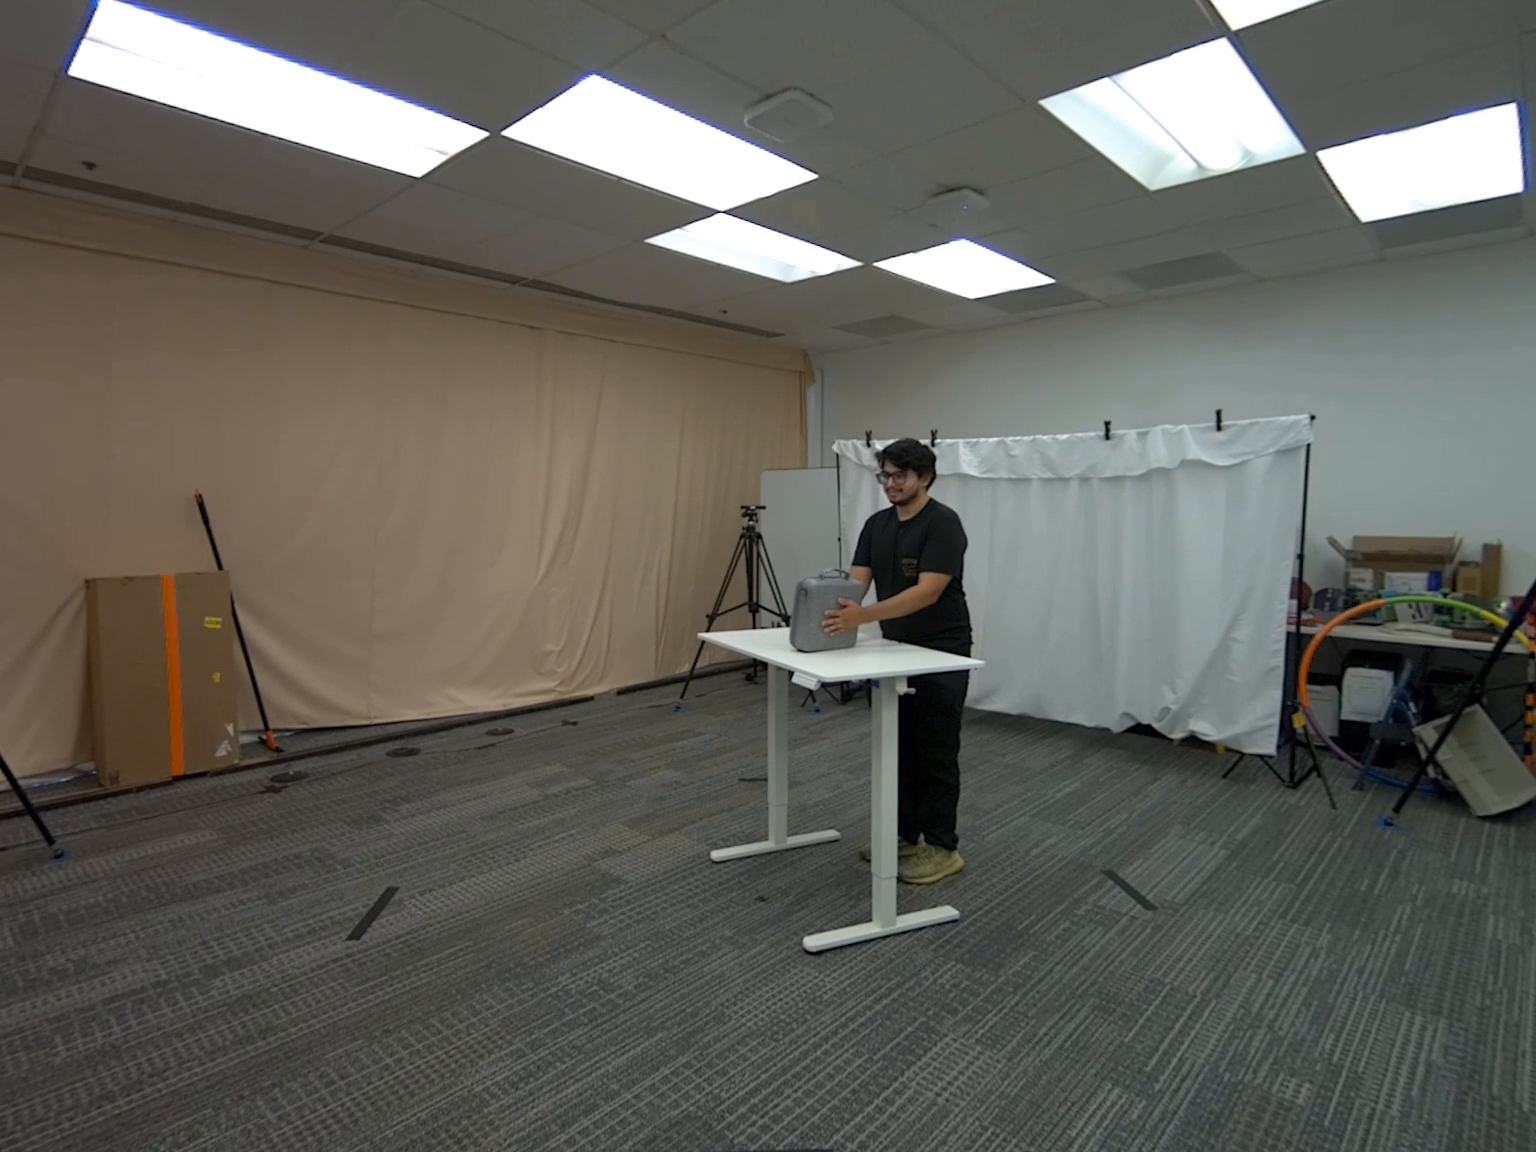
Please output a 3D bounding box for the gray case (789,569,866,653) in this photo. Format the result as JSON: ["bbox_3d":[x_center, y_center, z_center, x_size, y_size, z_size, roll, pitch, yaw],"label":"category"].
[{"bbox_3d":[0.214,0.130,2.967,0.249,0.259,0.108,0,11,-35],"label":"gray case"}]
